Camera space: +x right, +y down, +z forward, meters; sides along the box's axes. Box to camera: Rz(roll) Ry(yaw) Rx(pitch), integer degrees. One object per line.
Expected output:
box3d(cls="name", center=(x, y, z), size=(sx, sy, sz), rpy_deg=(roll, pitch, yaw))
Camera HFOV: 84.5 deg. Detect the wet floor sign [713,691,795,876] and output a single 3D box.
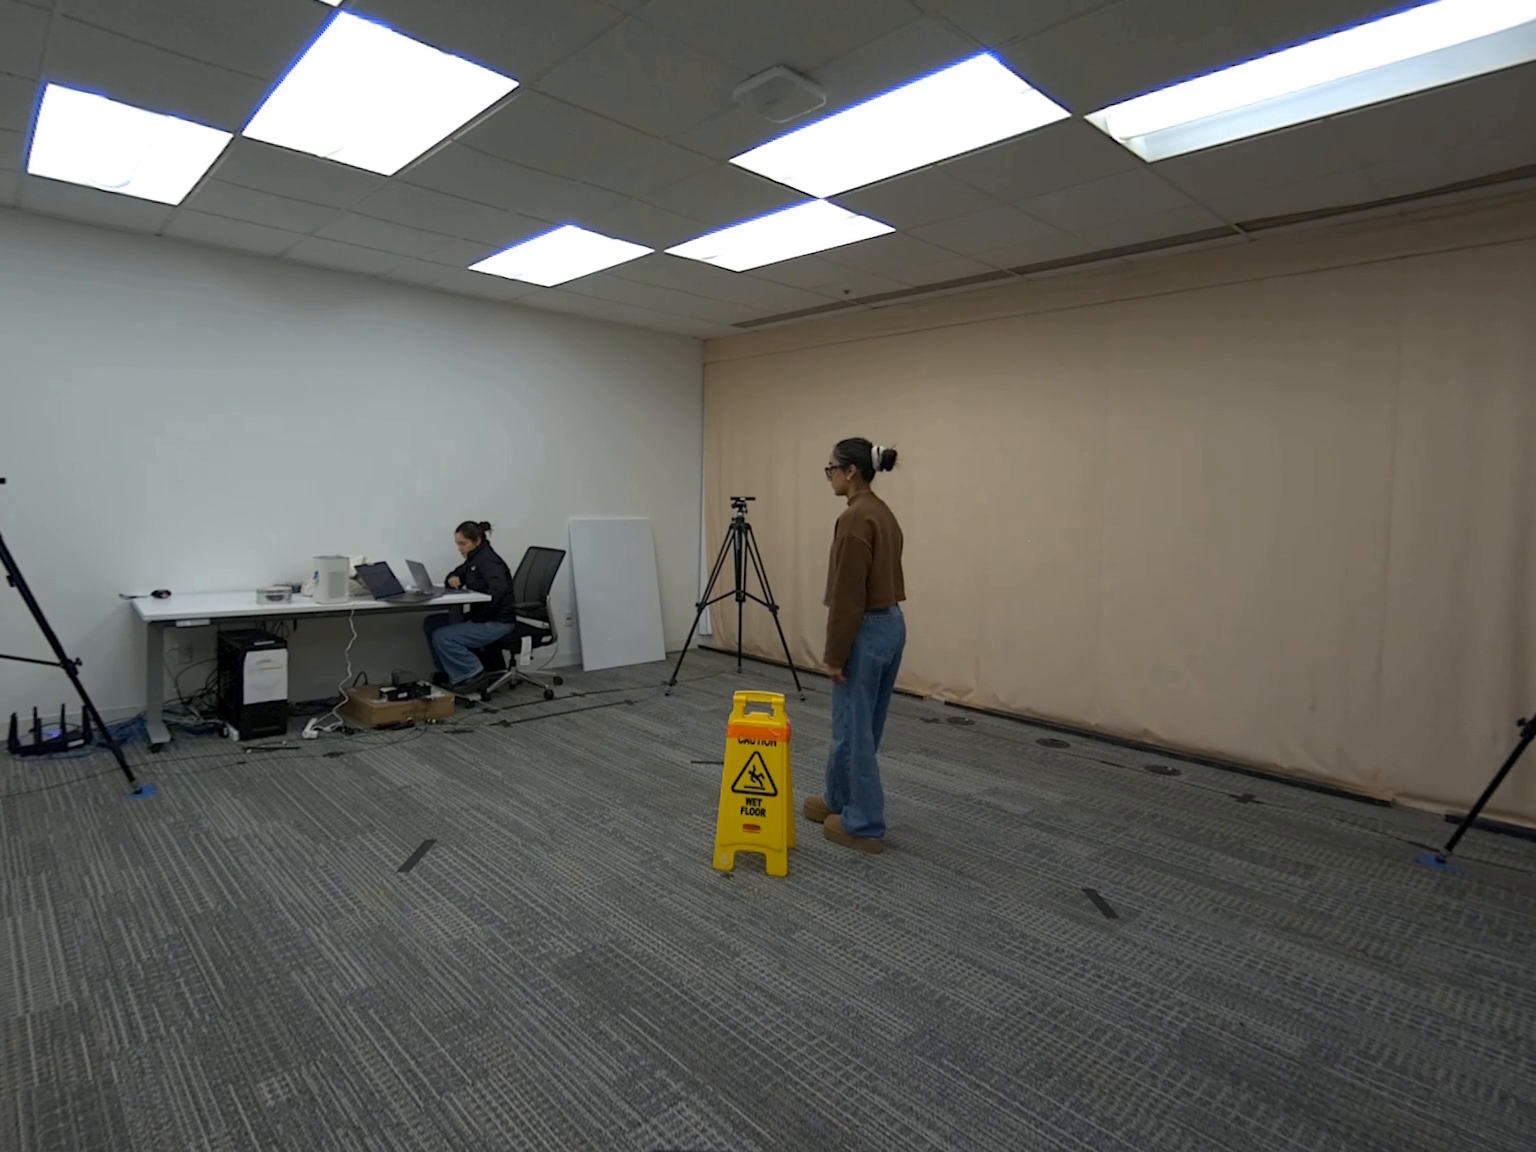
box3d(cls="wet floor sign", center=(-0.044, 0.771, 3.258), size=(0.285, 0.645, 0.288), rpy_deg=(3, 3, 10))
